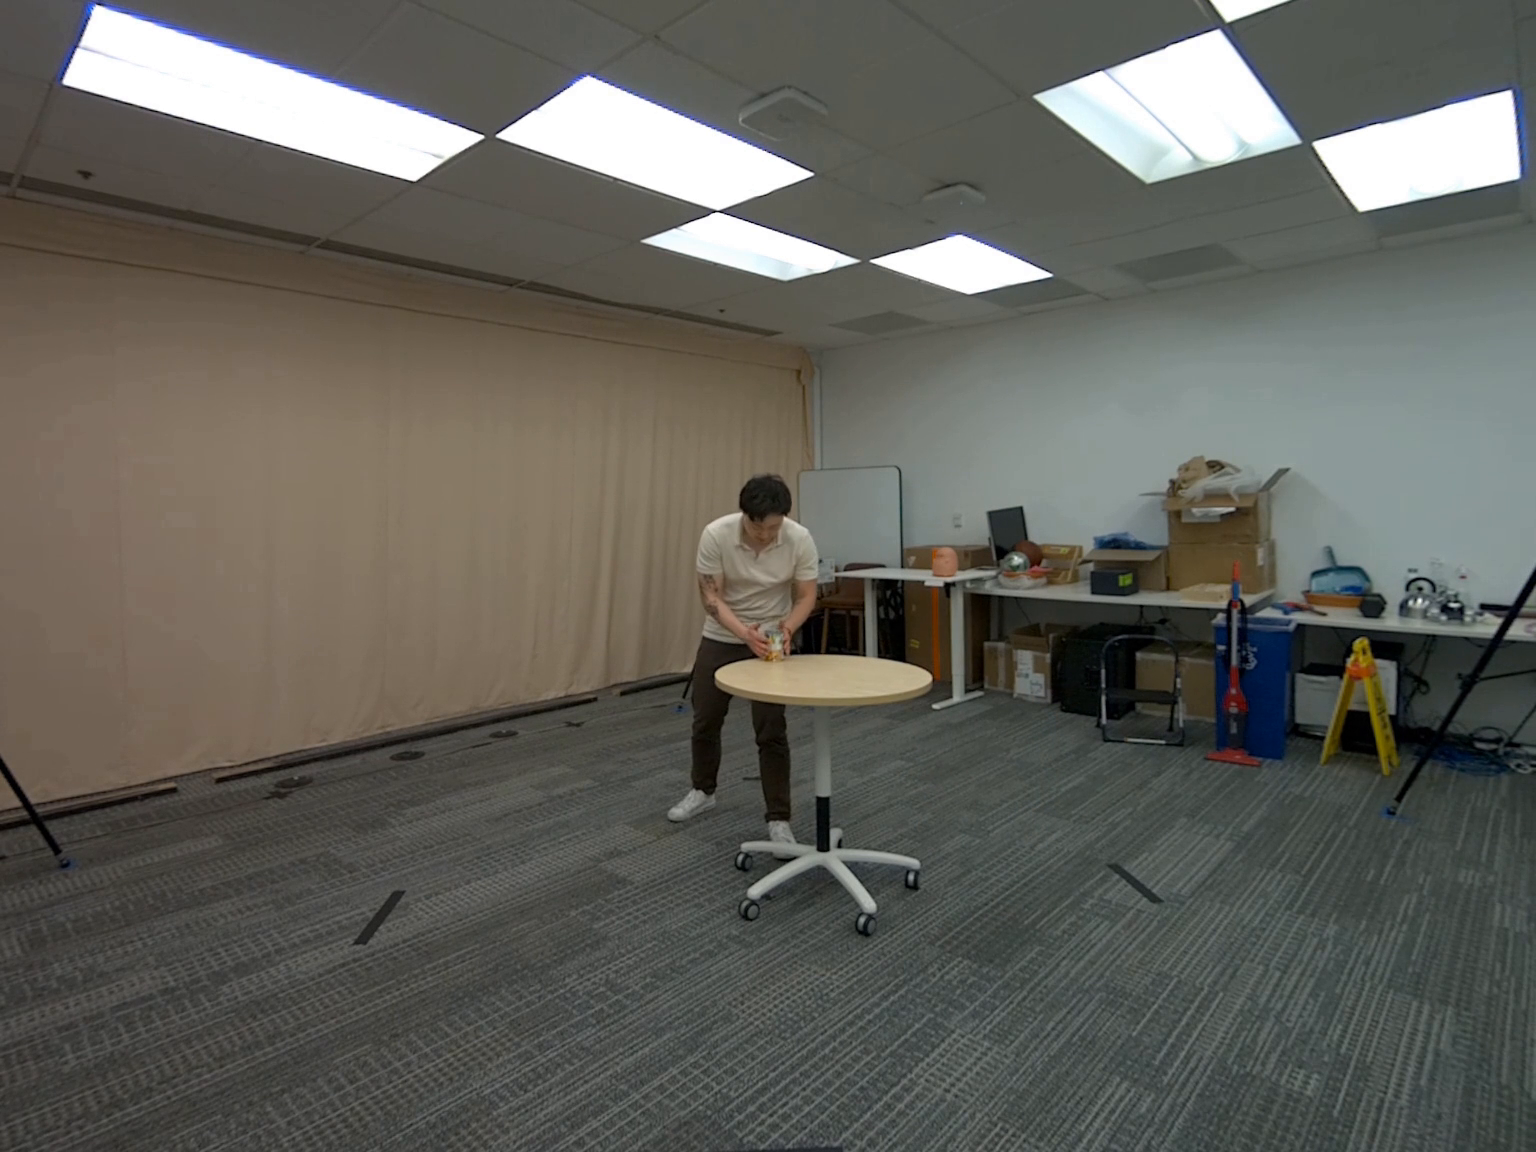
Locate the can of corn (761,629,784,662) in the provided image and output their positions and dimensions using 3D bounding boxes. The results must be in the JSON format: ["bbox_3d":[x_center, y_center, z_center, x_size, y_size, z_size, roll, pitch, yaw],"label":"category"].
[{"bbox_3d":[0.026,0.275,3.281,0.074,0.111,0.074,-3,2,-2],"label":"can of corn"}]
